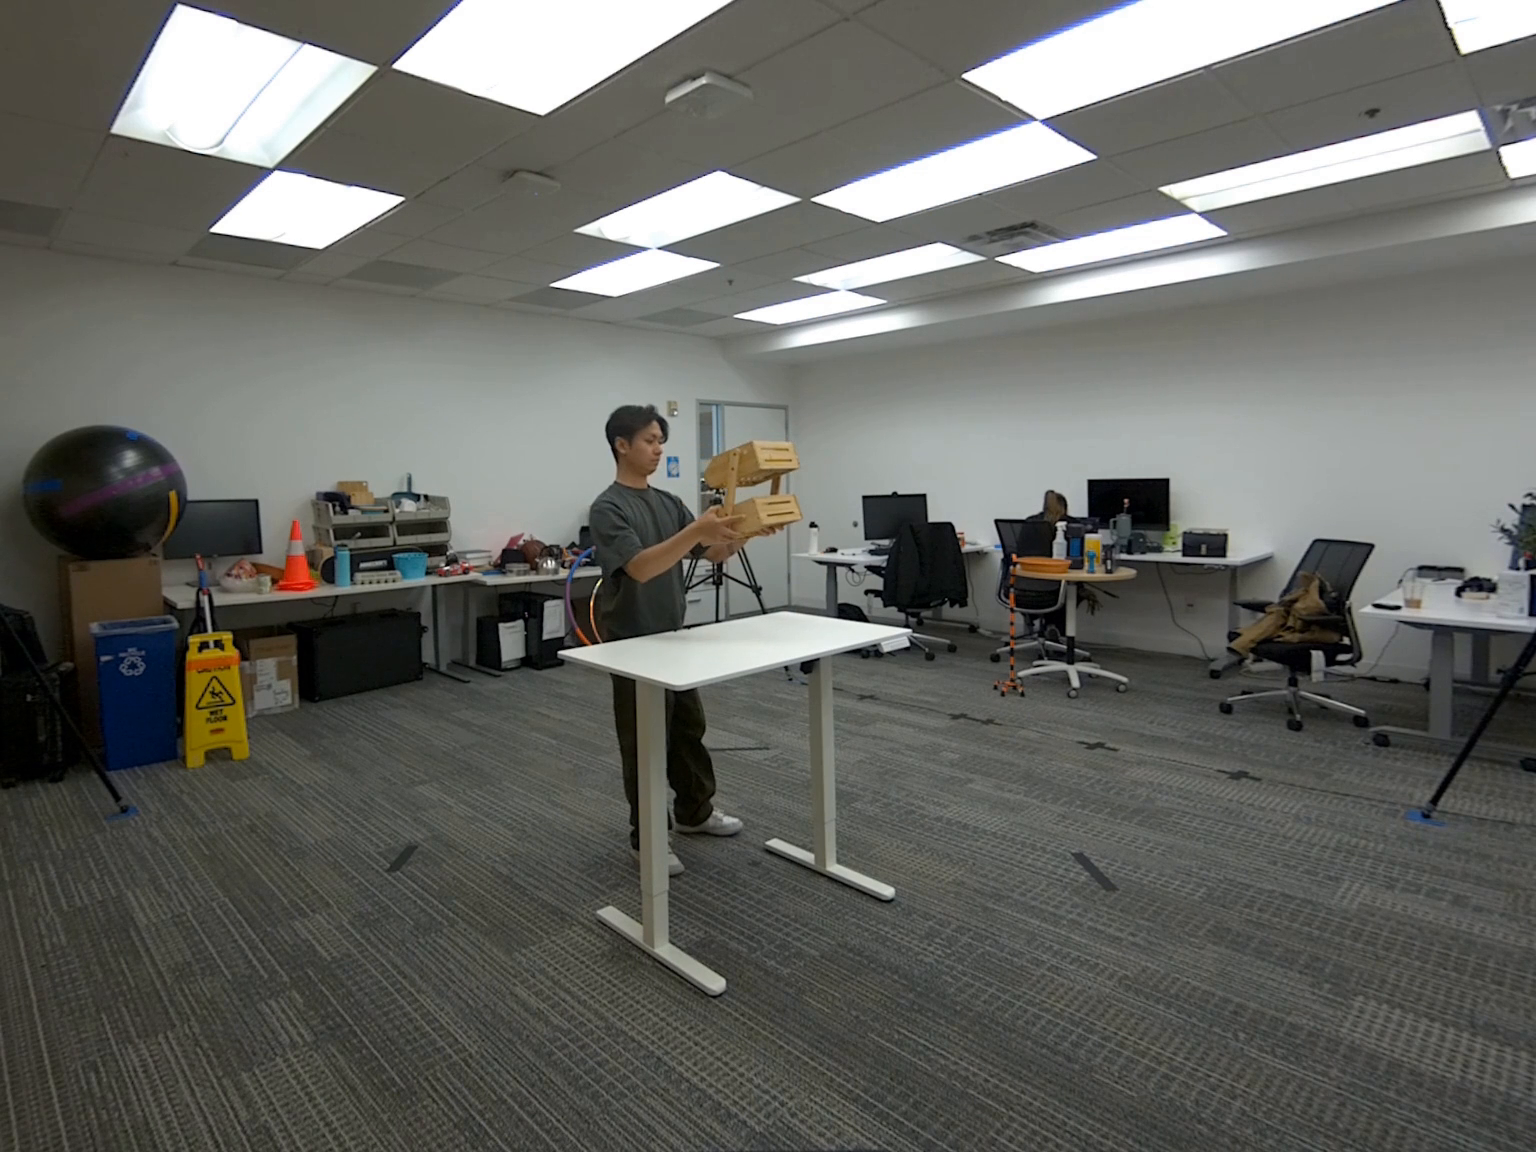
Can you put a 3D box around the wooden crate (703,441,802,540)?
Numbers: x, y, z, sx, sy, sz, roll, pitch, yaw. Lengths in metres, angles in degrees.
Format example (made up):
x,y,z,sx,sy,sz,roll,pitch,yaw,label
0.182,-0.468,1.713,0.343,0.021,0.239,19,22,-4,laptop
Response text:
x,y,z,sx,sy,sz,roll,pitch,yaw,label
-0.075,-0.282,2.854,0.307,0.275,0.318,-18,-3,30,wooden crate
